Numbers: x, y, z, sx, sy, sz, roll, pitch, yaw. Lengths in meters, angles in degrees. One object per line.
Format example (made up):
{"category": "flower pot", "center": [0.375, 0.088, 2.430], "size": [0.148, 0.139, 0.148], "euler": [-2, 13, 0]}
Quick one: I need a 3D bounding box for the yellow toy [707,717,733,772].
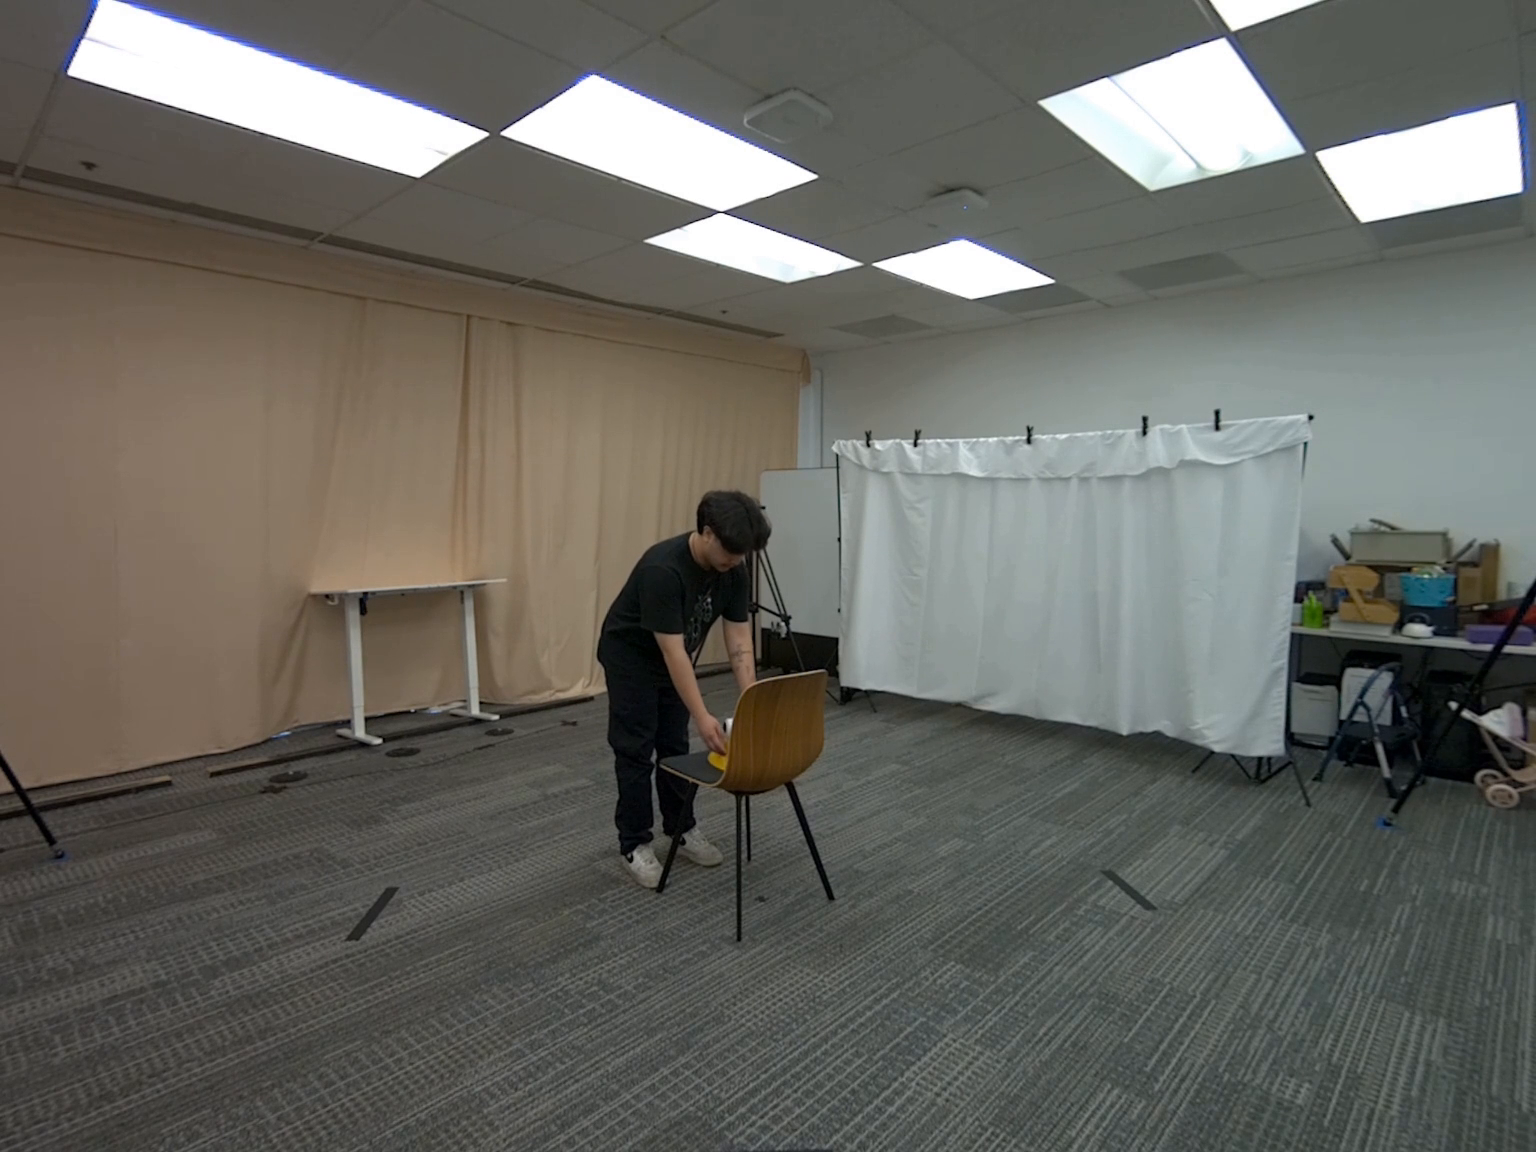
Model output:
{"category": "yellow toy", "center": [-0.096, 0.552, 2.989], "size": [0.199, 0.229, 0.200], "euler": [-5, 11, -41]}
